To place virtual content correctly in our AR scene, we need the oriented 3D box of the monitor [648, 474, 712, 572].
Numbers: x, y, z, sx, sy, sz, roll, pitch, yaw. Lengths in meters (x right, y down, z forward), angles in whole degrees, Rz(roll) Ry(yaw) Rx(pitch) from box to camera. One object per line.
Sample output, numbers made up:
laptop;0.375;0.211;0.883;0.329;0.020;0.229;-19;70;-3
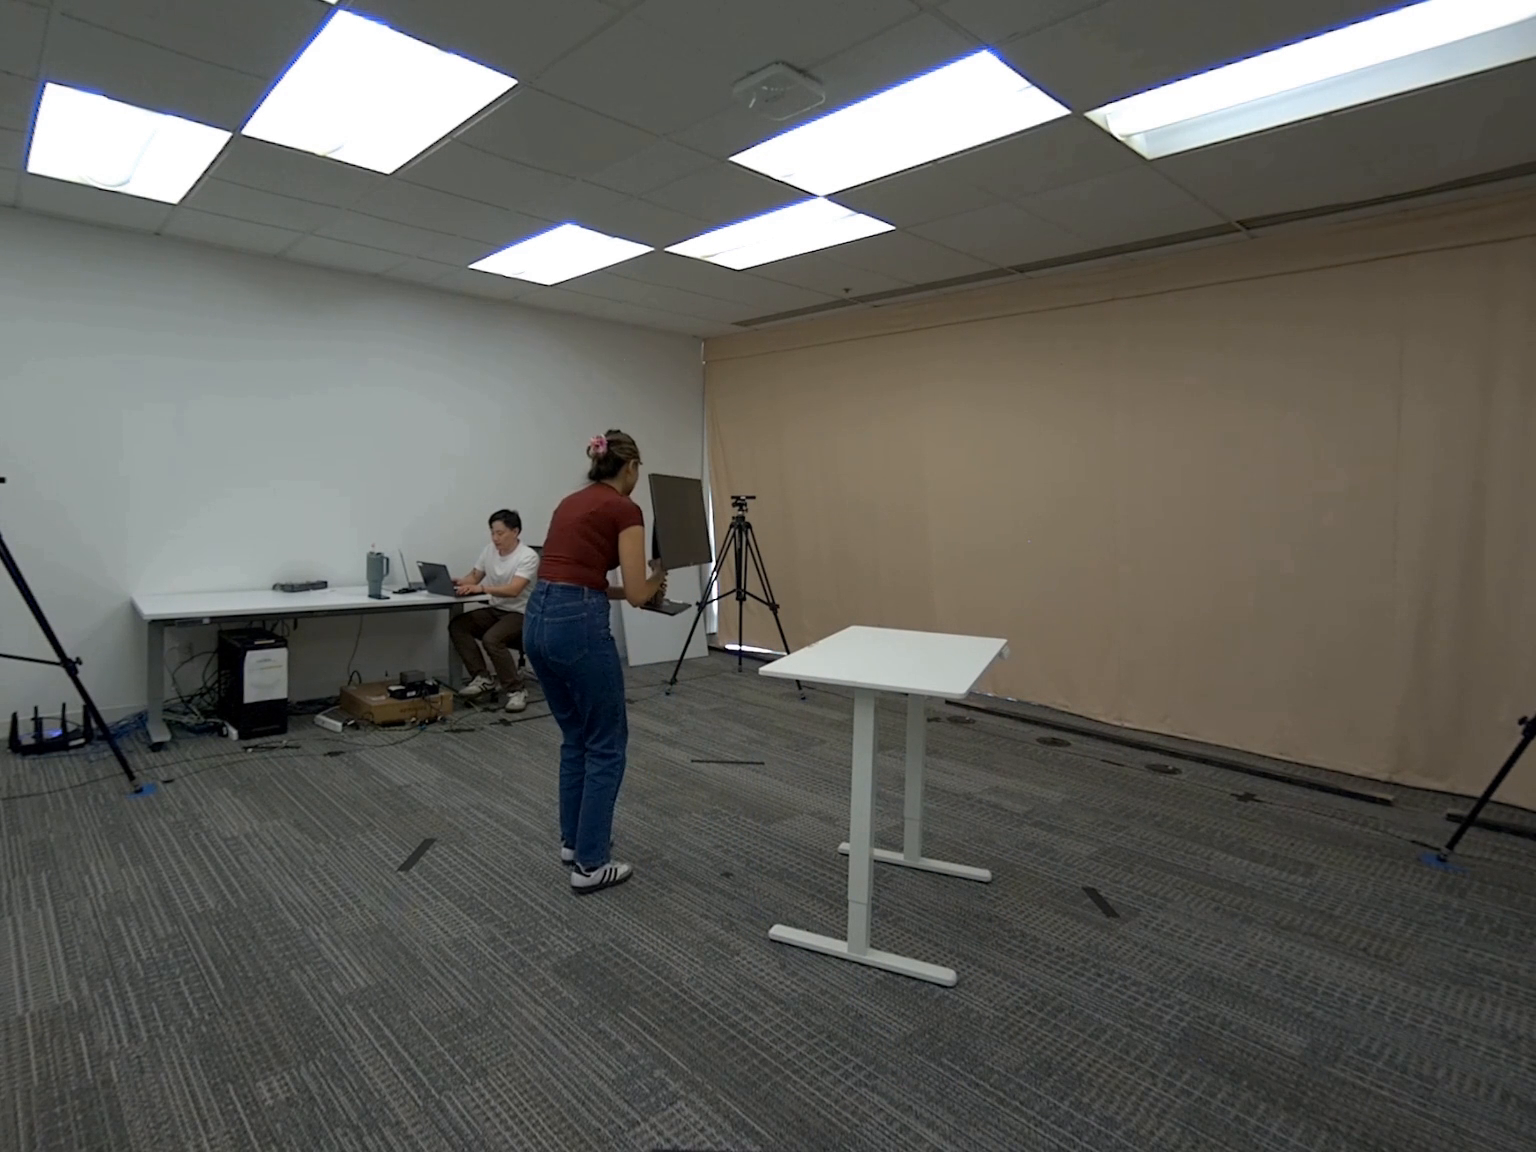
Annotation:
monitor;-0.381;-0.126;3.284;0.189;0.521;0.534;7;5;13
